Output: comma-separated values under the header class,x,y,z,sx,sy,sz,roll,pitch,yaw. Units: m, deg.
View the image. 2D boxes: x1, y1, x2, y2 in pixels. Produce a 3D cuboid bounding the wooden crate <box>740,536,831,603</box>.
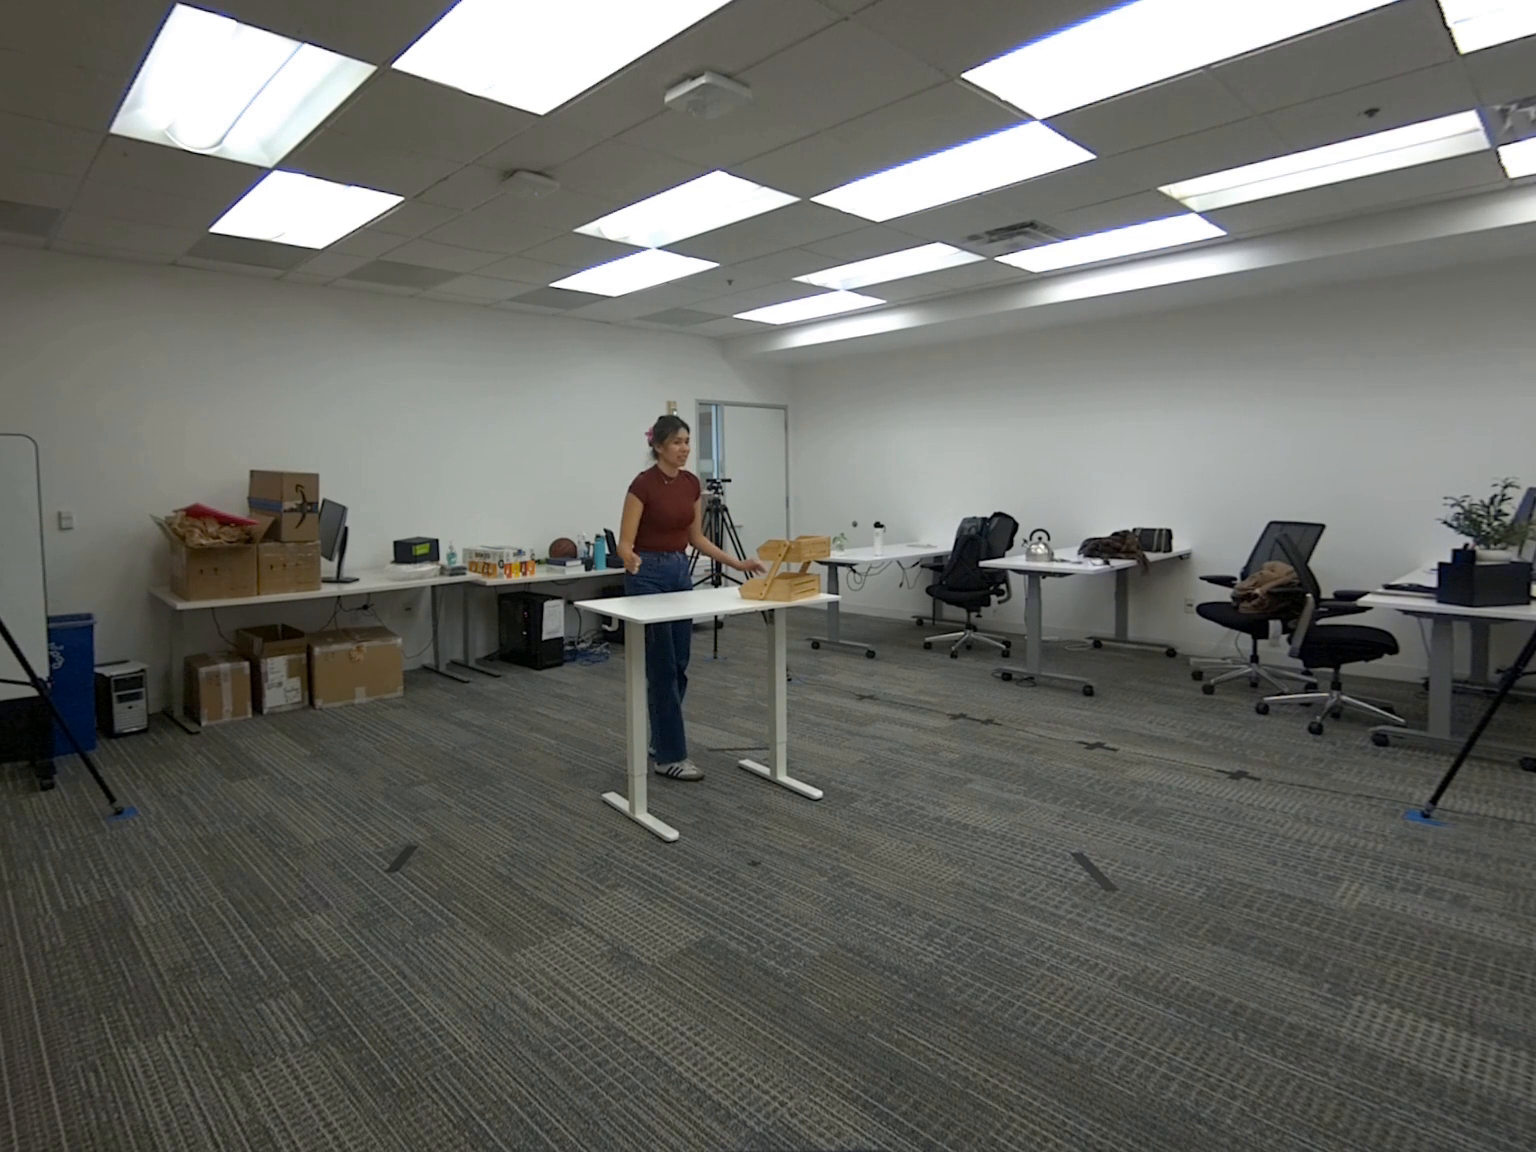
class,x,y,z,sx,sy,sz,roll,pitch,yaw
wooden crate,0.074,-0.041,3.749,0.310,0.272,0.317,2,6,30
